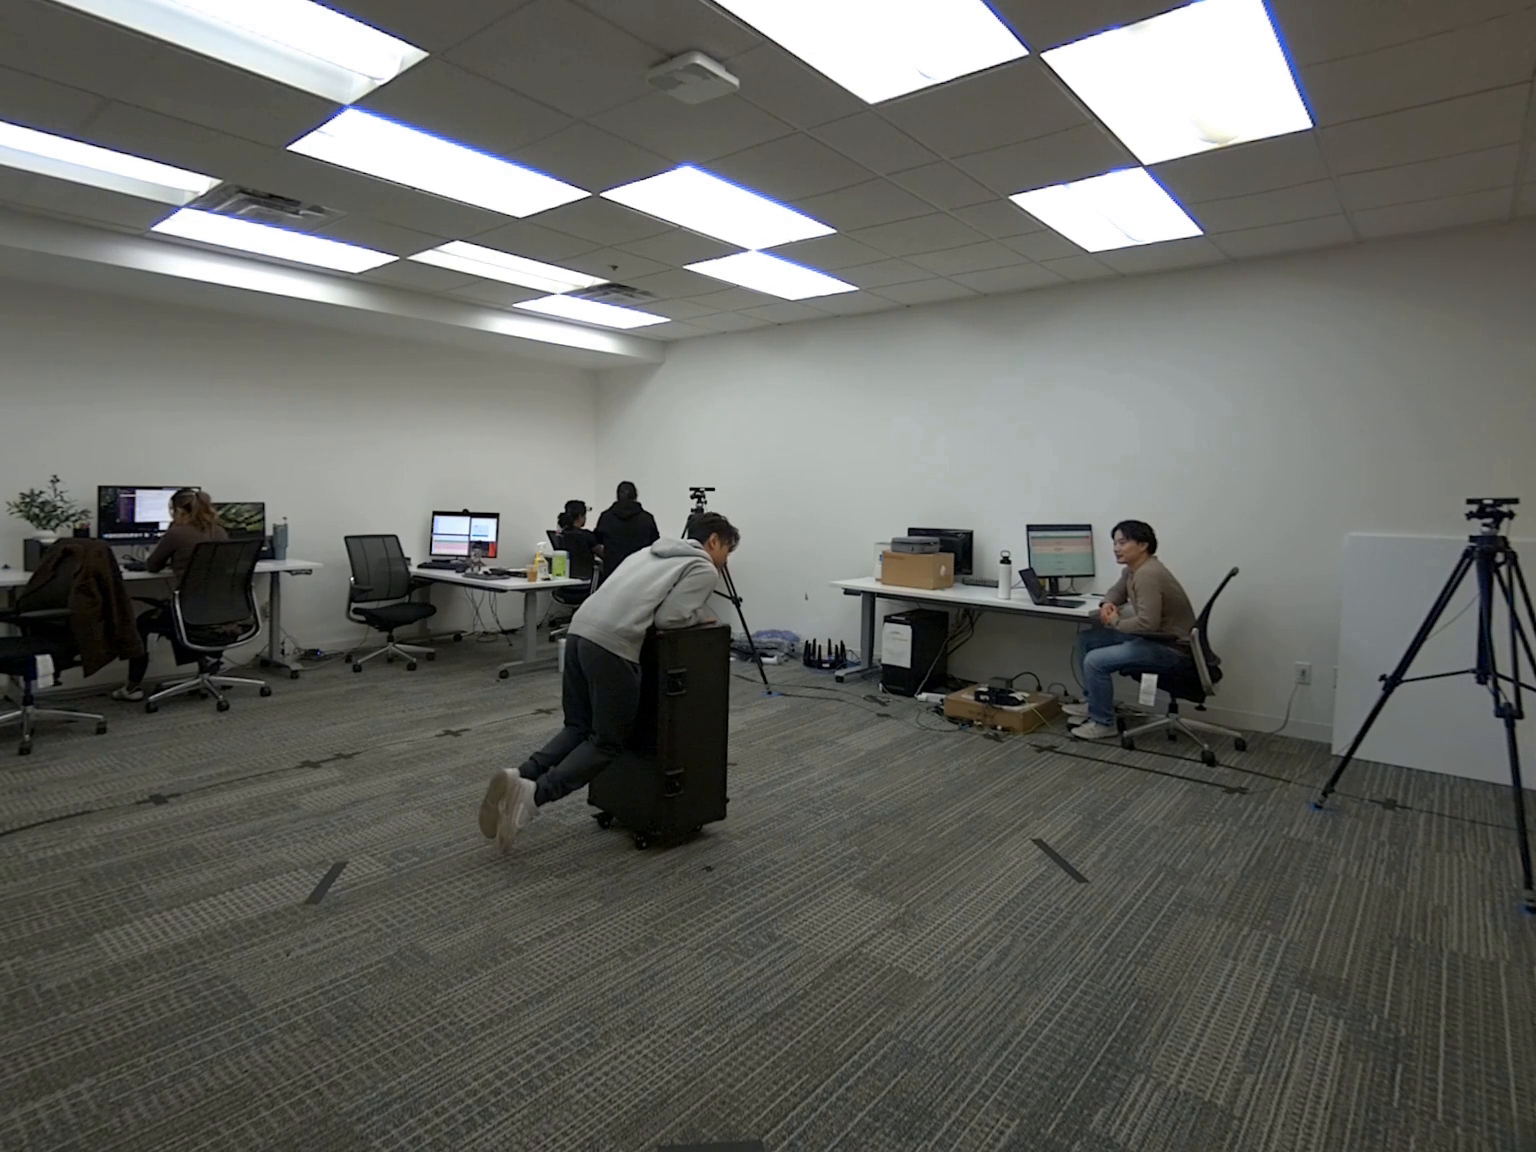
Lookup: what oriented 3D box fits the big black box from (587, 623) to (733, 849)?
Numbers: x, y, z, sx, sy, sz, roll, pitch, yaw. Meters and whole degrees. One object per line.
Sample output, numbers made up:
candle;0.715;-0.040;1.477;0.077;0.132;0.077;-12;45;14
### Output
big black box;-0.457;0.609;3.473;0.384;0.860;0.539;0;3;-42
